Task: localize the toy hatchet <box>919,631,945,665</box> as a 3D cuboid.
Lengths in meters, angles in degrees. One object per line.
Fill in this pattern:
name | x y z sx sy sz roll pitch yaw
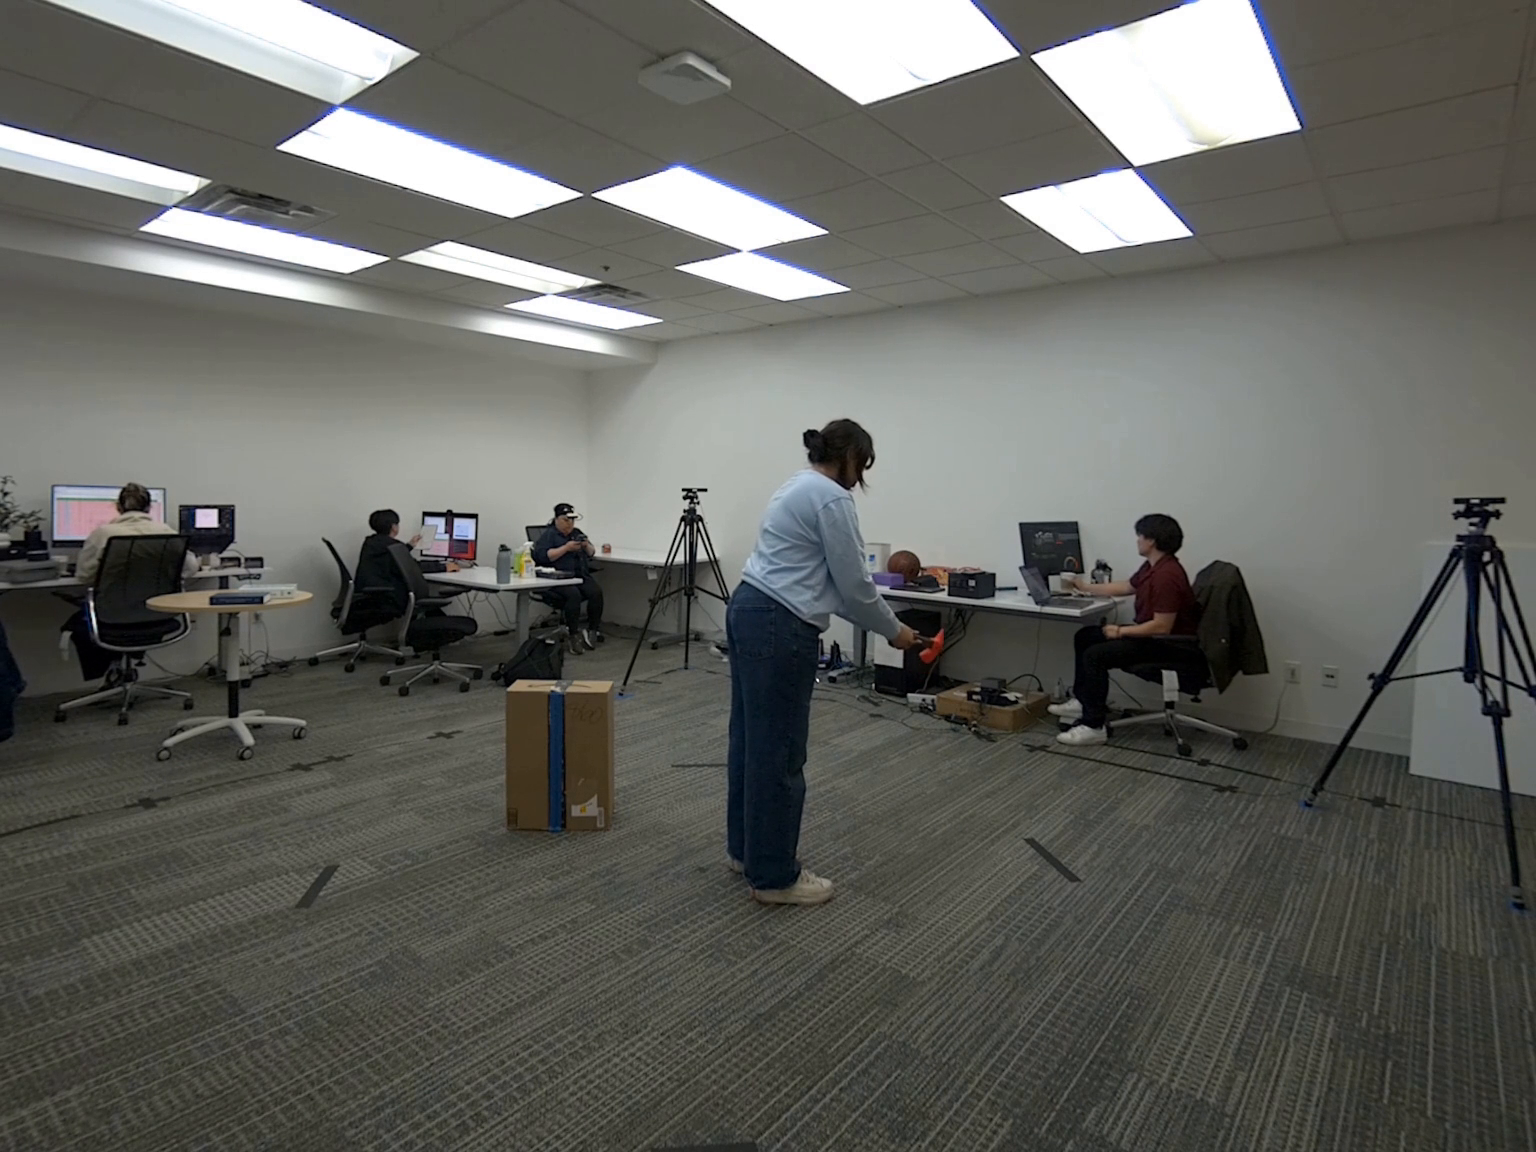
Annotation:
toy hatchet | 0.520 0.251 3.083 0.263 0.129 0.031 -1 21 -29
